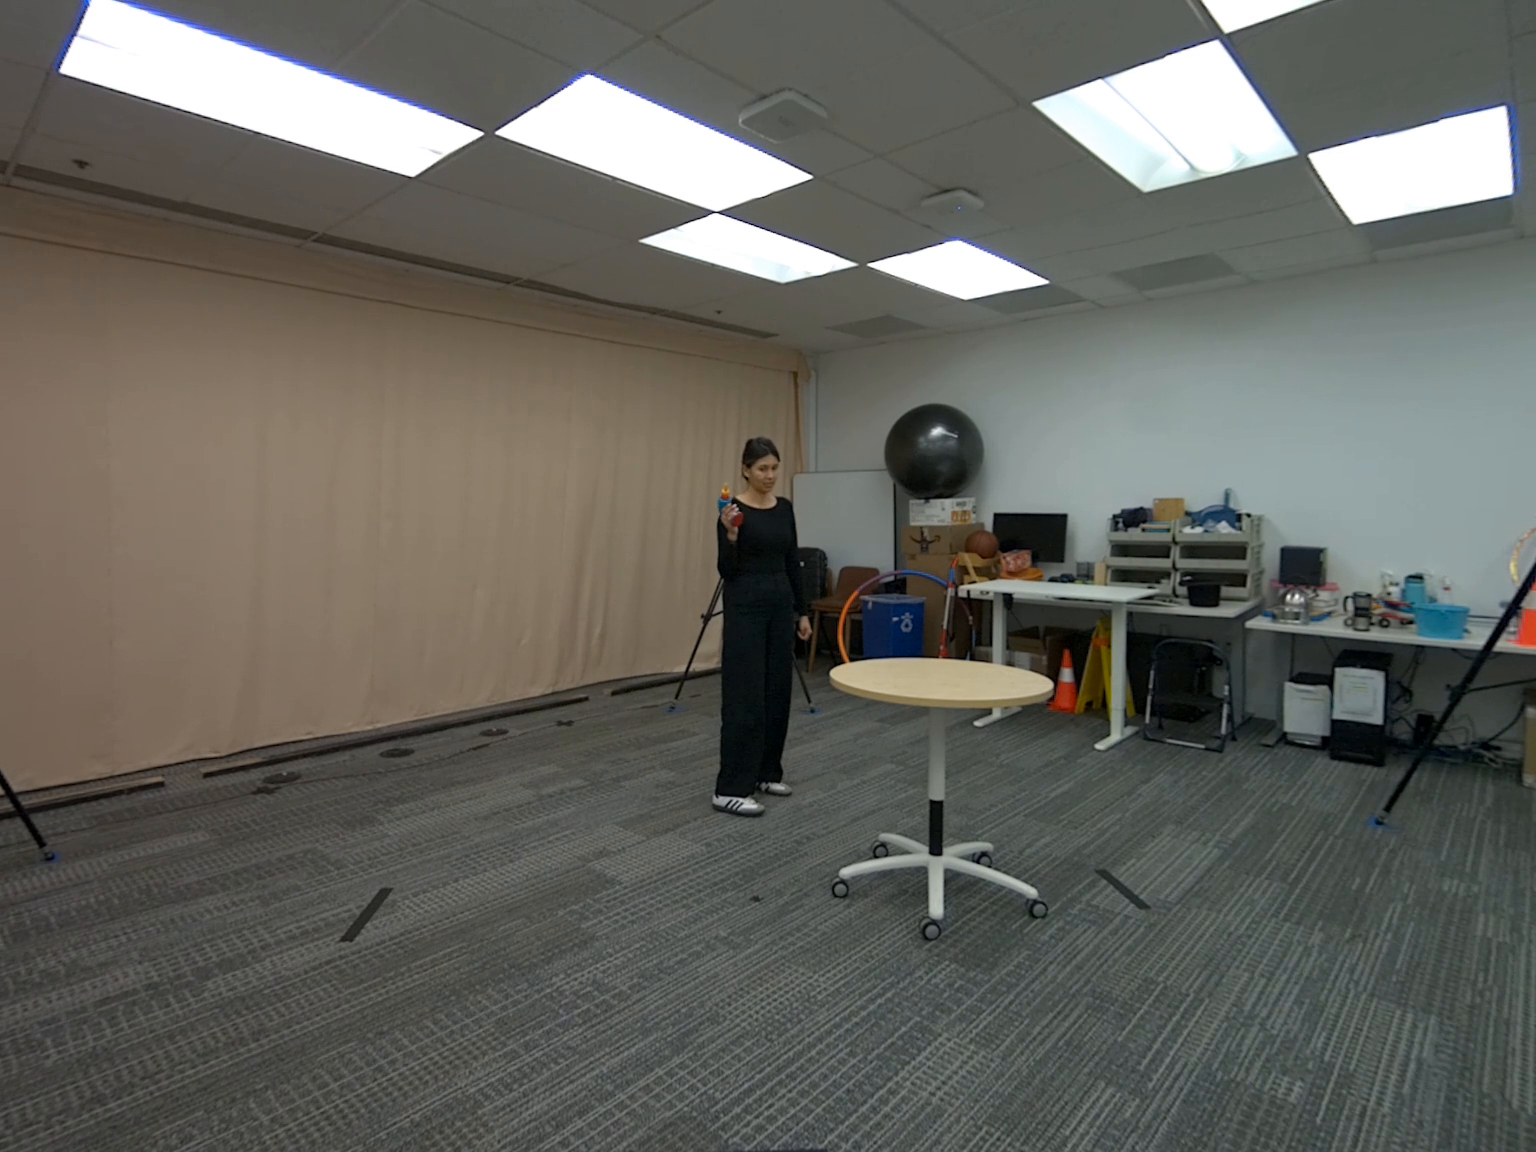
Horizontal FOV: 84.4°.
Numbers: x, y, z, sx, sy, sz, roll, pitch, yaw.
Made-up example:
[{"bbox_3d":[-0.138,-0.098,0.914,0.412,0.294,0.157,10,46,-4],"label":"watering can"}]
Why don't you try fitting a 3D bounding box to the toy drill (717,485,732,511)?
[{"bbox_3d":[-0.170,-0.314,3.707,0.060,0.167,0.151,-13,43,-27],"label":"toy drill"}]
